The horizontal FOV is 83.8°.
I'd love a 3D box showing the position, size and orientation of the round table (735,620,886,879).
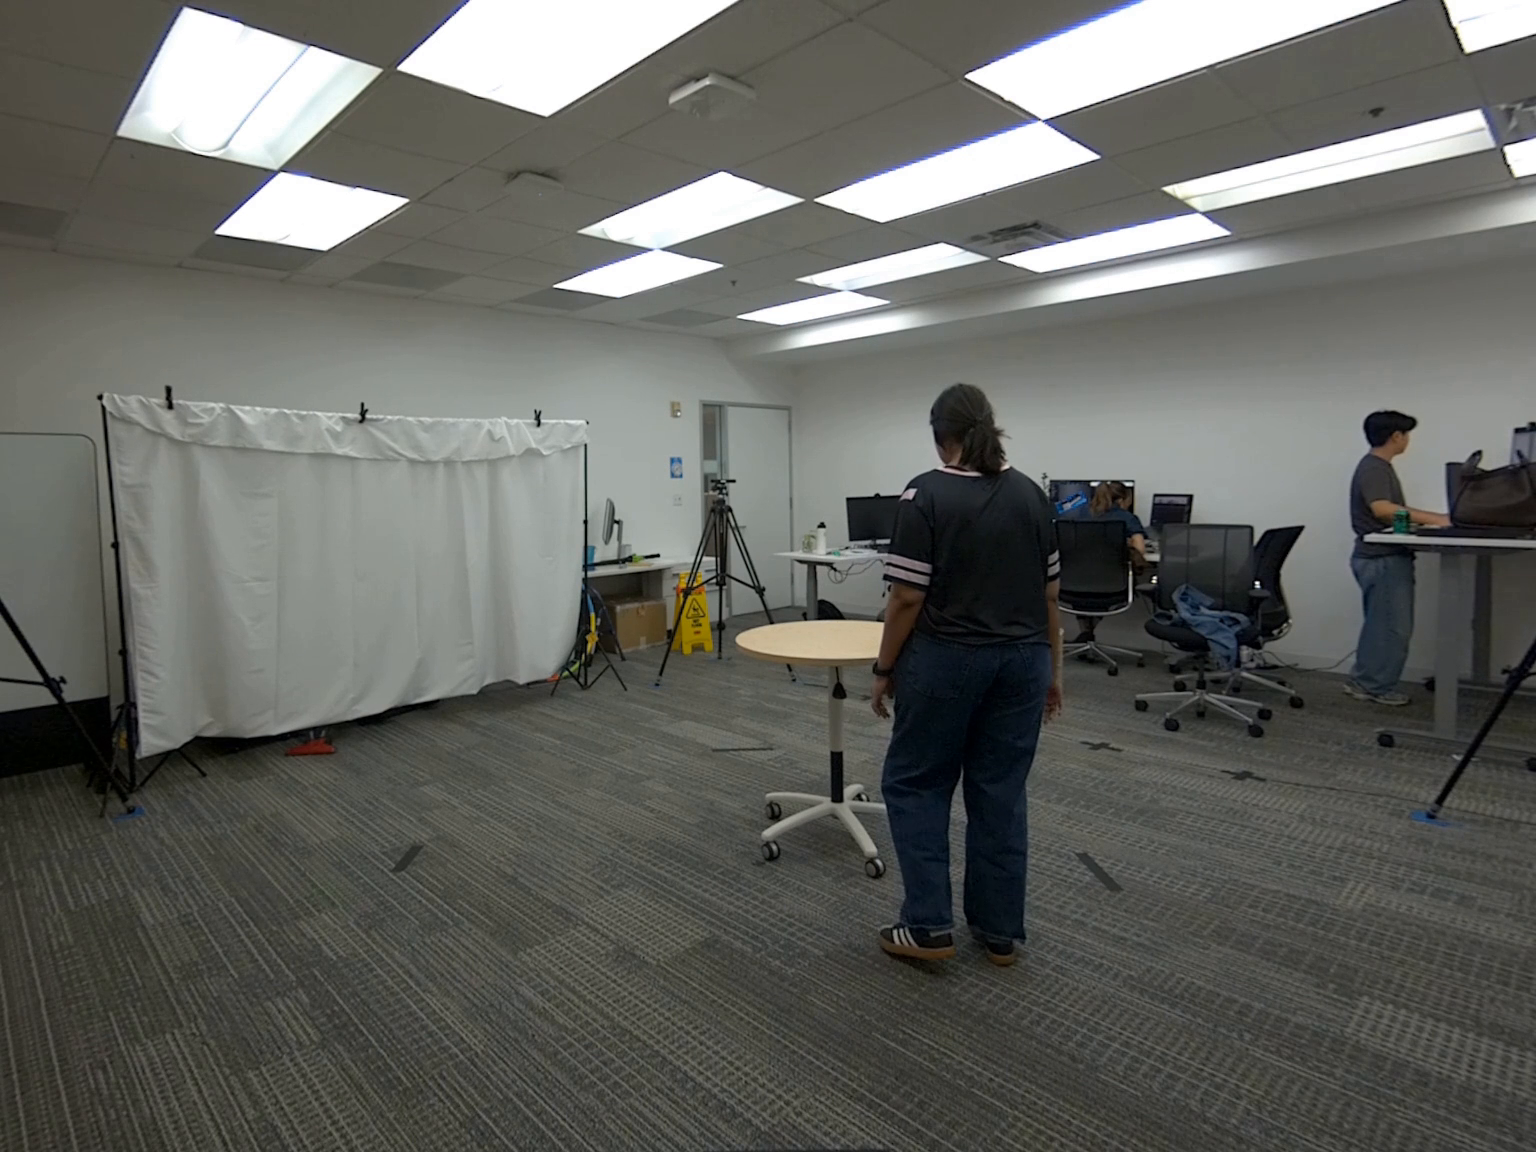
[{"bbox_3d":[0.273,0.631,3.308,0.763,0.791,0.768,-1,5,-2],"label":"round table"}]
